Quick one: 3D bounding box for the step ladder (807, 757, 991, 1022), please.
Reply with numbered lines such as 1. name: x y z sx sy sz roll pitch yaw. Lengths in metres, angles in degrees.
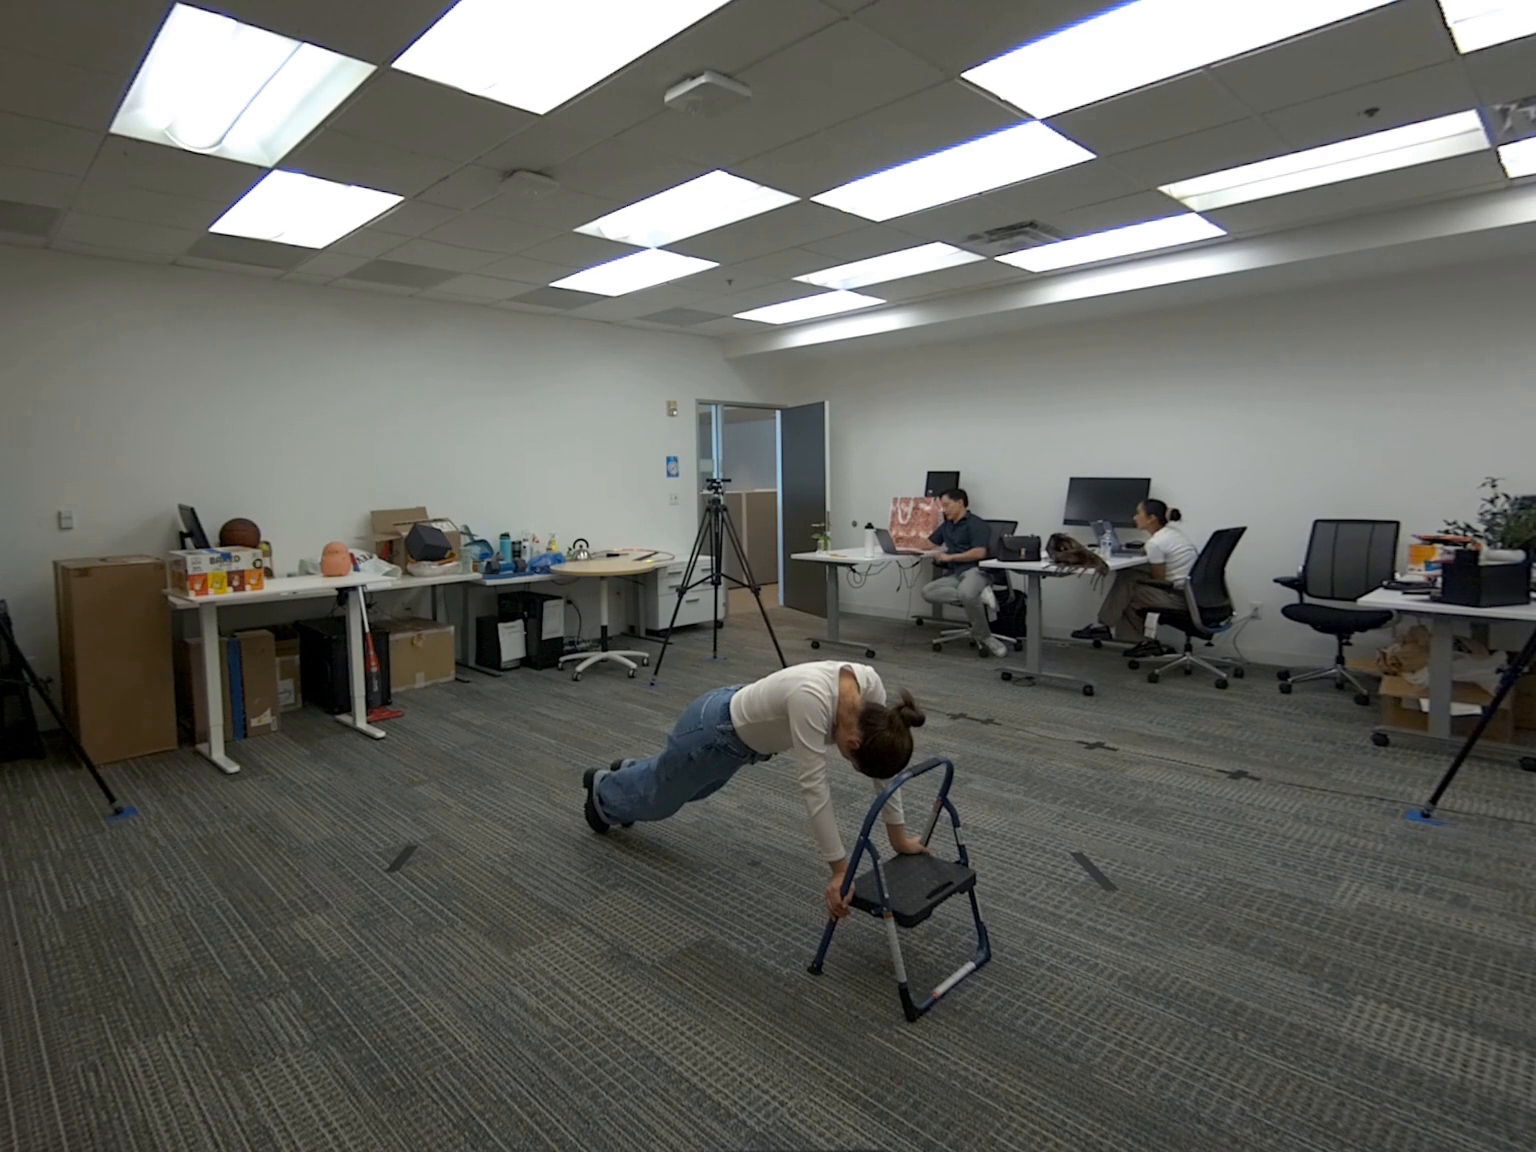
1. step ladder: 0.383 0.816 2.424 0.360 0.604 0.419 3 6 43
